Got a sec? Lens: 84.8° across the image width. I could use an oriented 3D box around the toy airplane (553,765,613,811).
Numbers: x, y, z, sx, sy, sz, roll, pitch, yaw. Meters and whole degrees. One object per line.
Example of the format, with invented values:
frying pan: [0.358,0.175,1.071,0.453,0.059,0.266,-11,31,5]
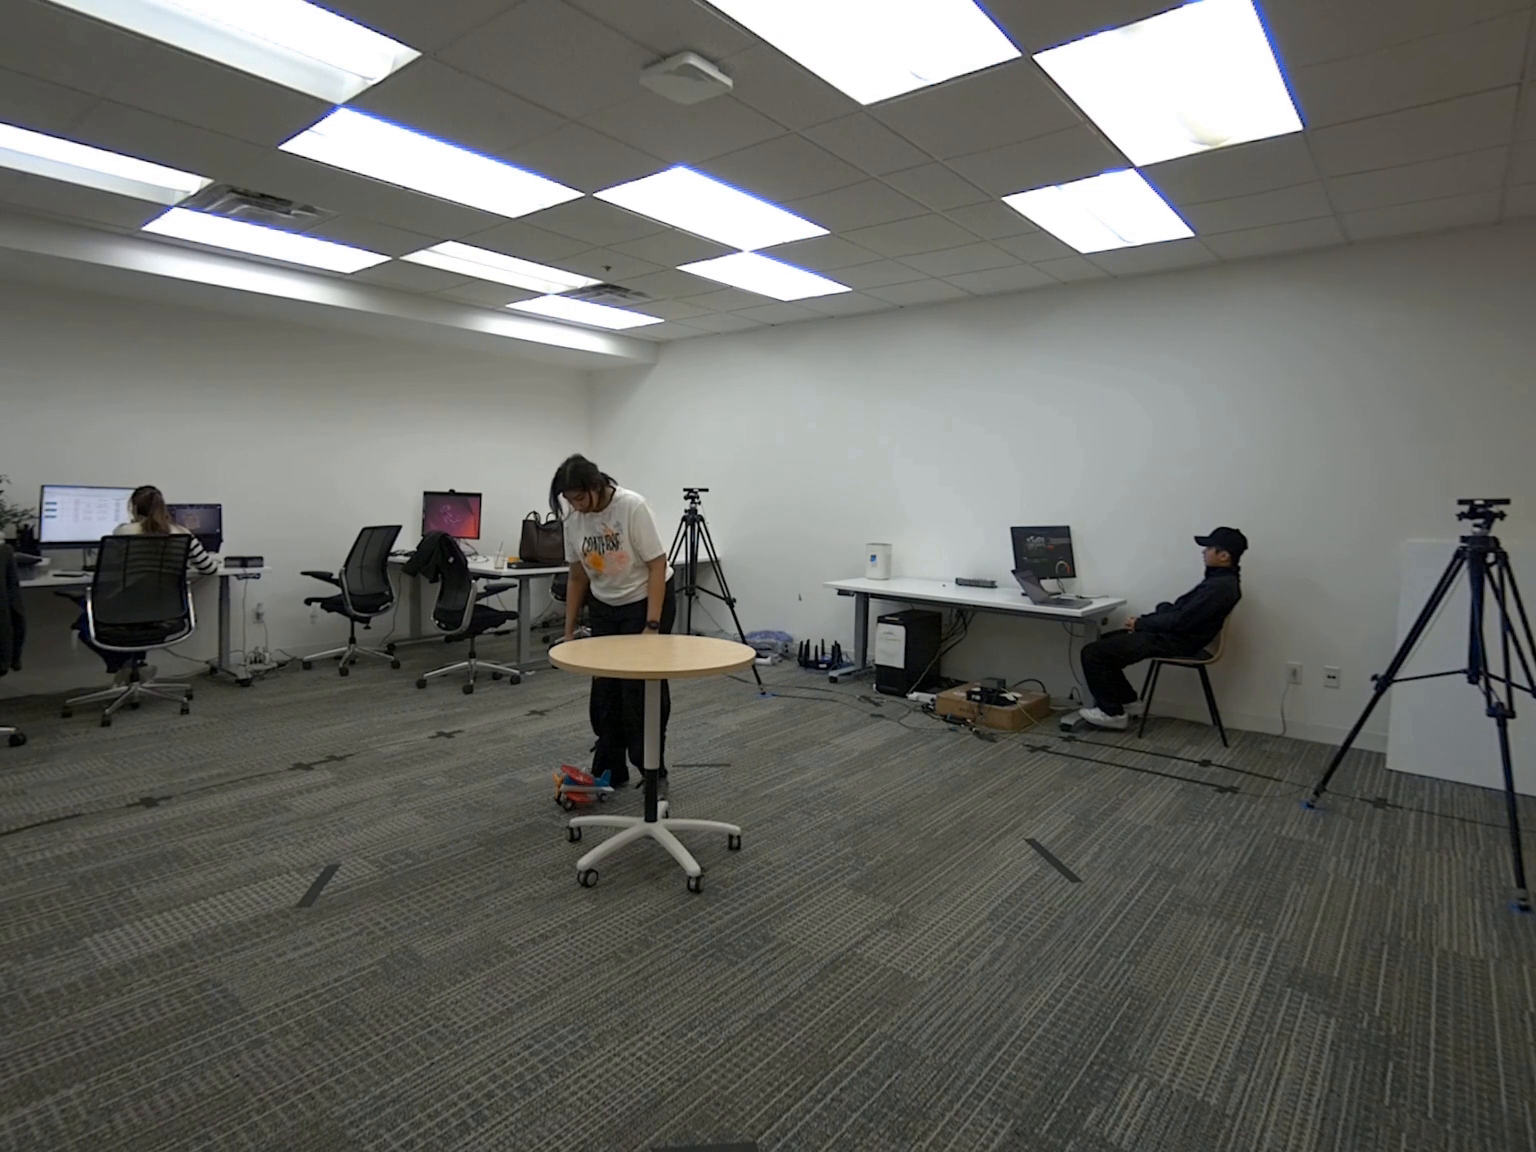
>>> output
toy airplane: [-0.845,0.931,3.757,0.258,0.156,0.253,1,7,31]
